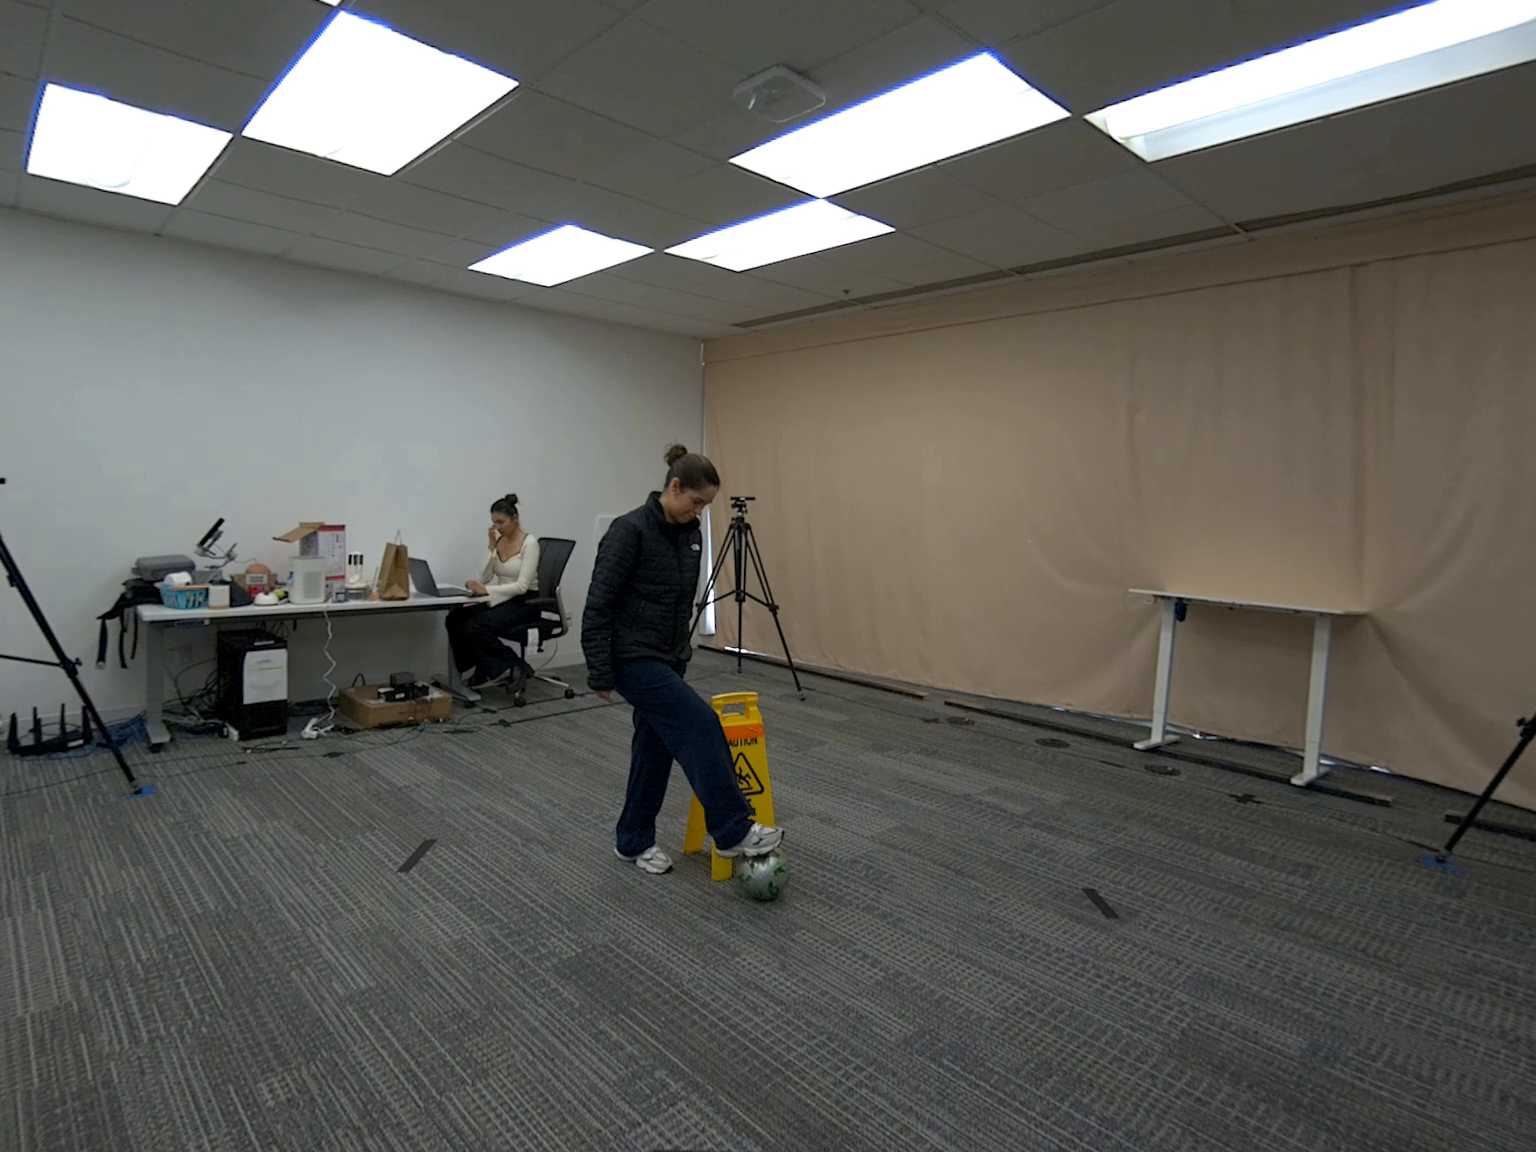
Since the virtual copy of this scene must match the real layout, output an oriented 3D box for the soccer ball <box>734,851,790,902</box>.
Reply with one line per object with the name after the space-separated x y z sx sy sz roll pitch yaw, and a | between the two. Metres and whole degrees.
-0.032 1.029 2.943 0.187 0.187 0.188 1 4 -1 | soccer ball
